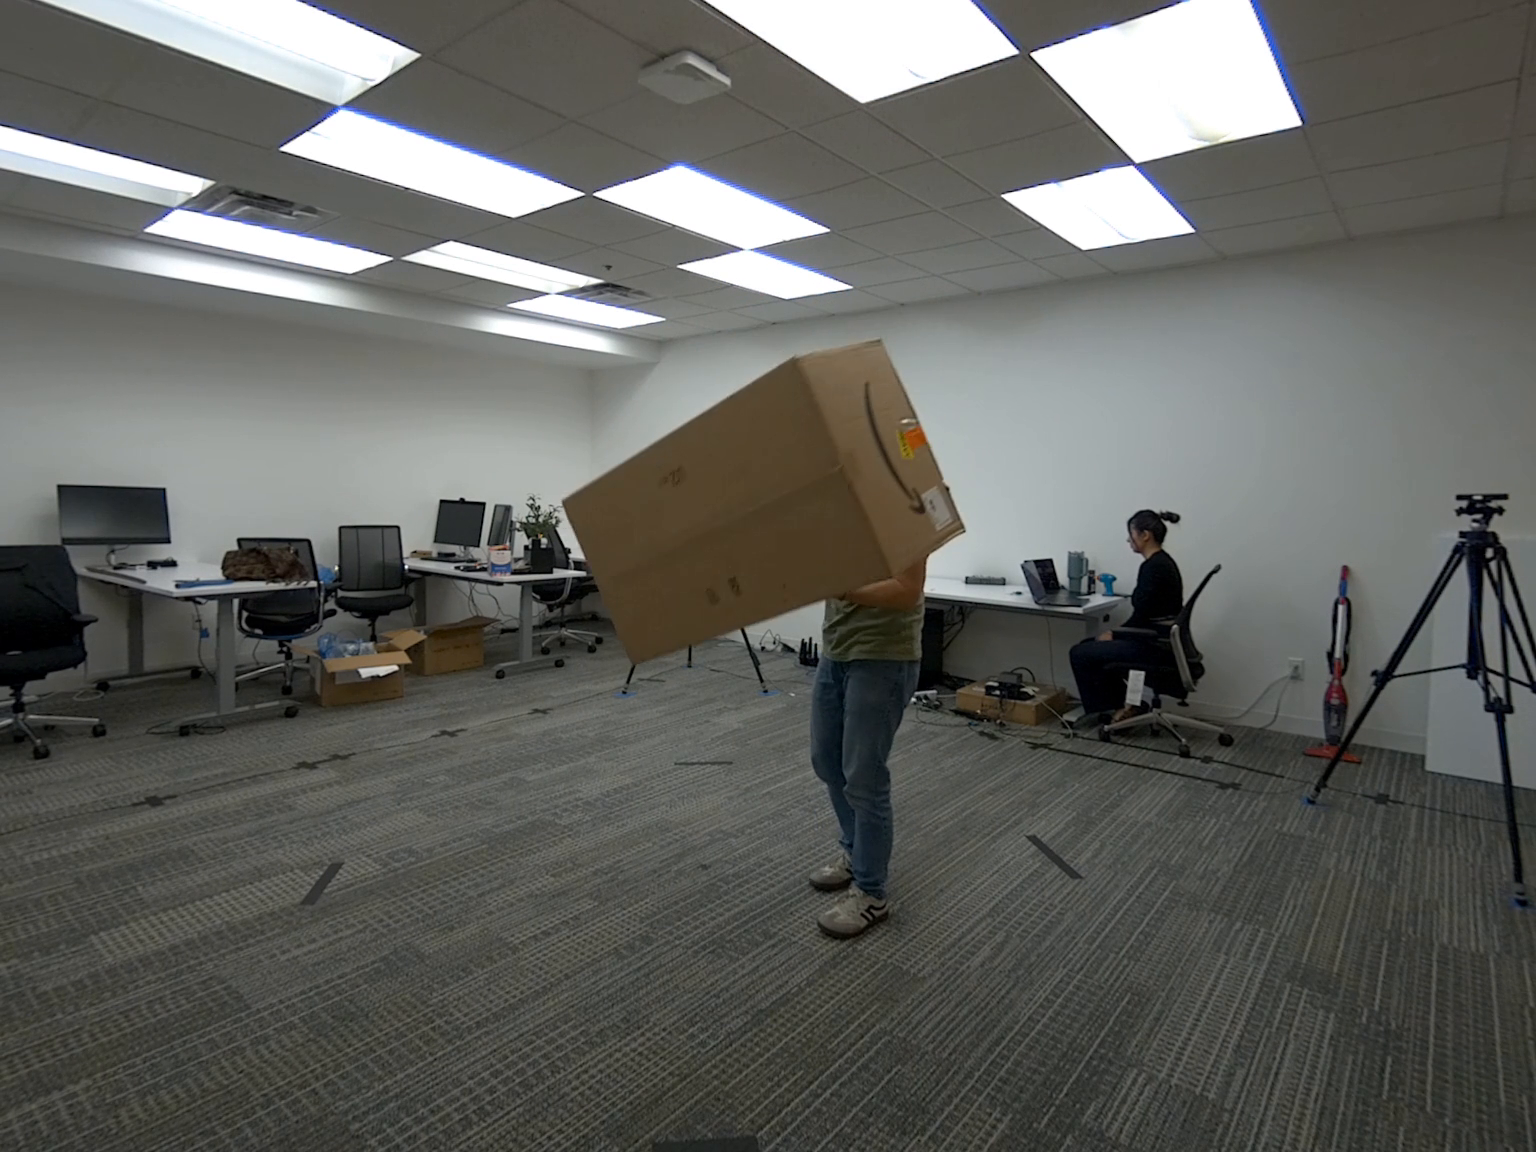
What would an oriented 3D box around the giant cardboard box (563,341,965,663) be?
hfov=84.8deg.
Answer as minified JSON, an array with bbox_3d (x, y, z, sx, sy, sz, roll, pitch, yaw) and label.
[{"bbox_3d":[-0.060,-0.173,2.501,1.044,0.578,0.419,-22,1,42],"label":"giant cardboard box"}]
